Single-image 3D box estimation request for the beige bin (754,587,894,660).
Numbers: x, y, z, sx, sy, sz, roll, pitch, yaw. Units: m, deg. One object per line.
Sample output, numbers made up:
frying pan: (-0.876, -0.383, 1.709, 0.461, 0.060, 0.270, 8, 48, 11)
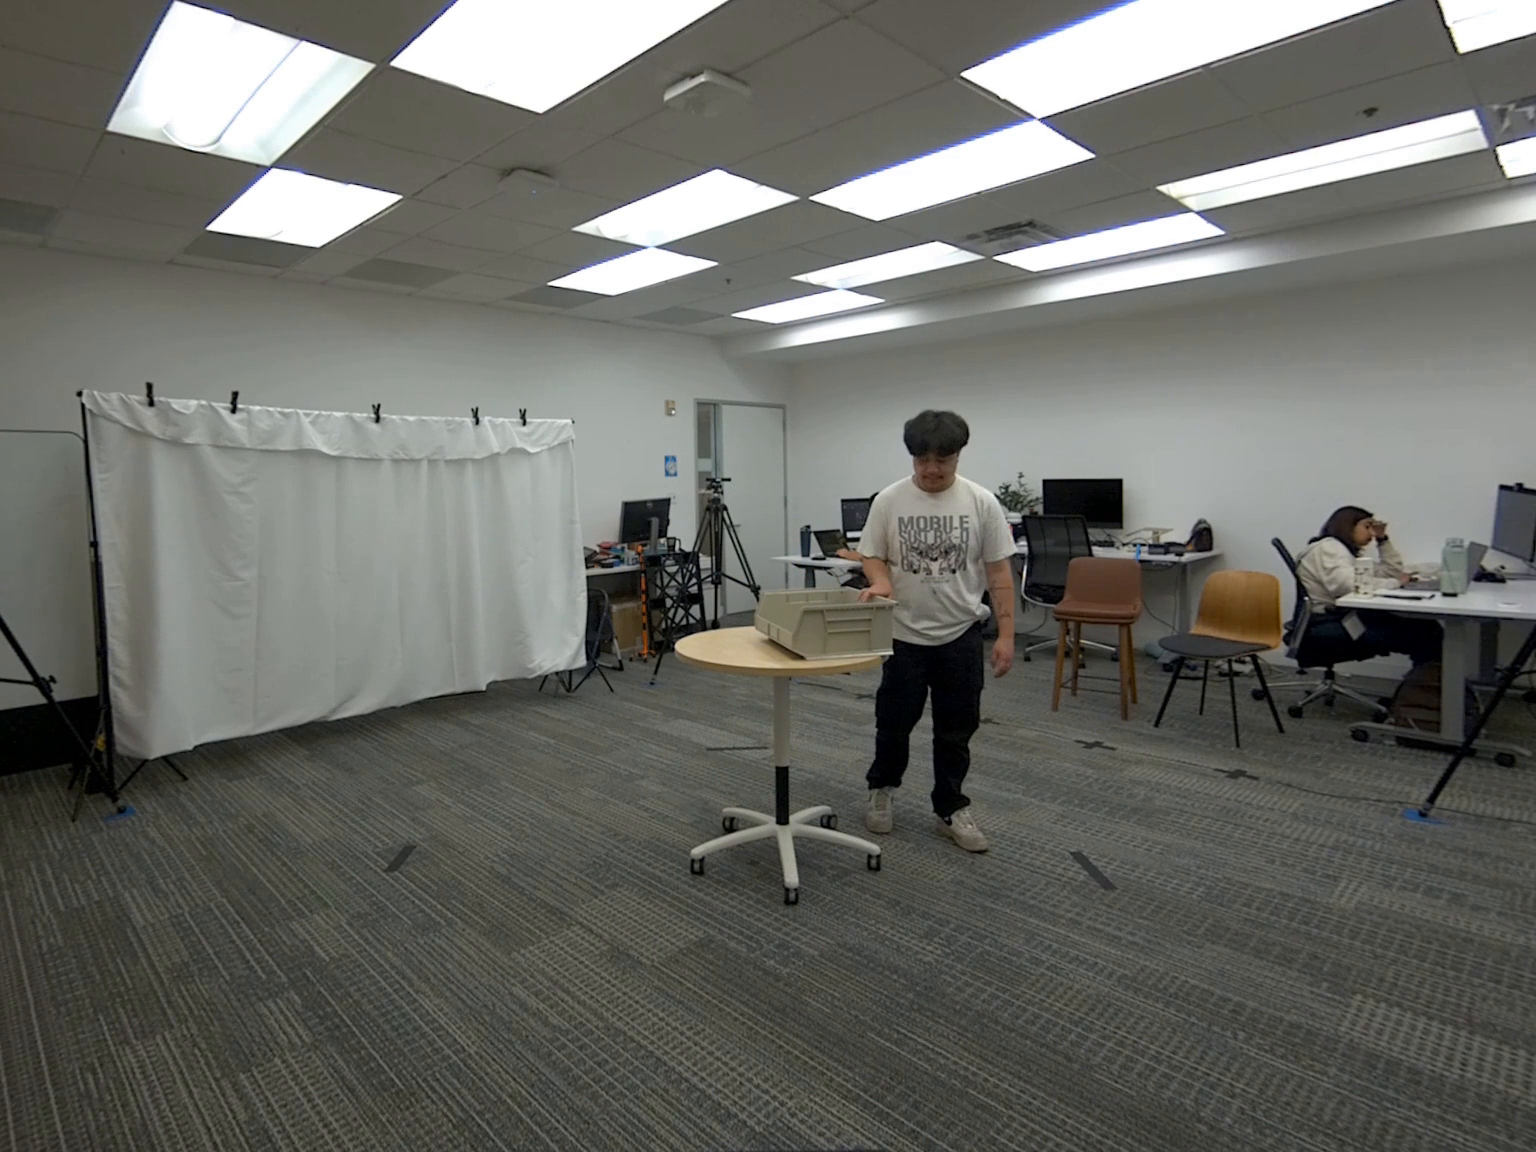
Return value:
beige bin: (0.197, 0.164, 3.018, 0.372, 0.188, 0.430, -1, 6, -15)
